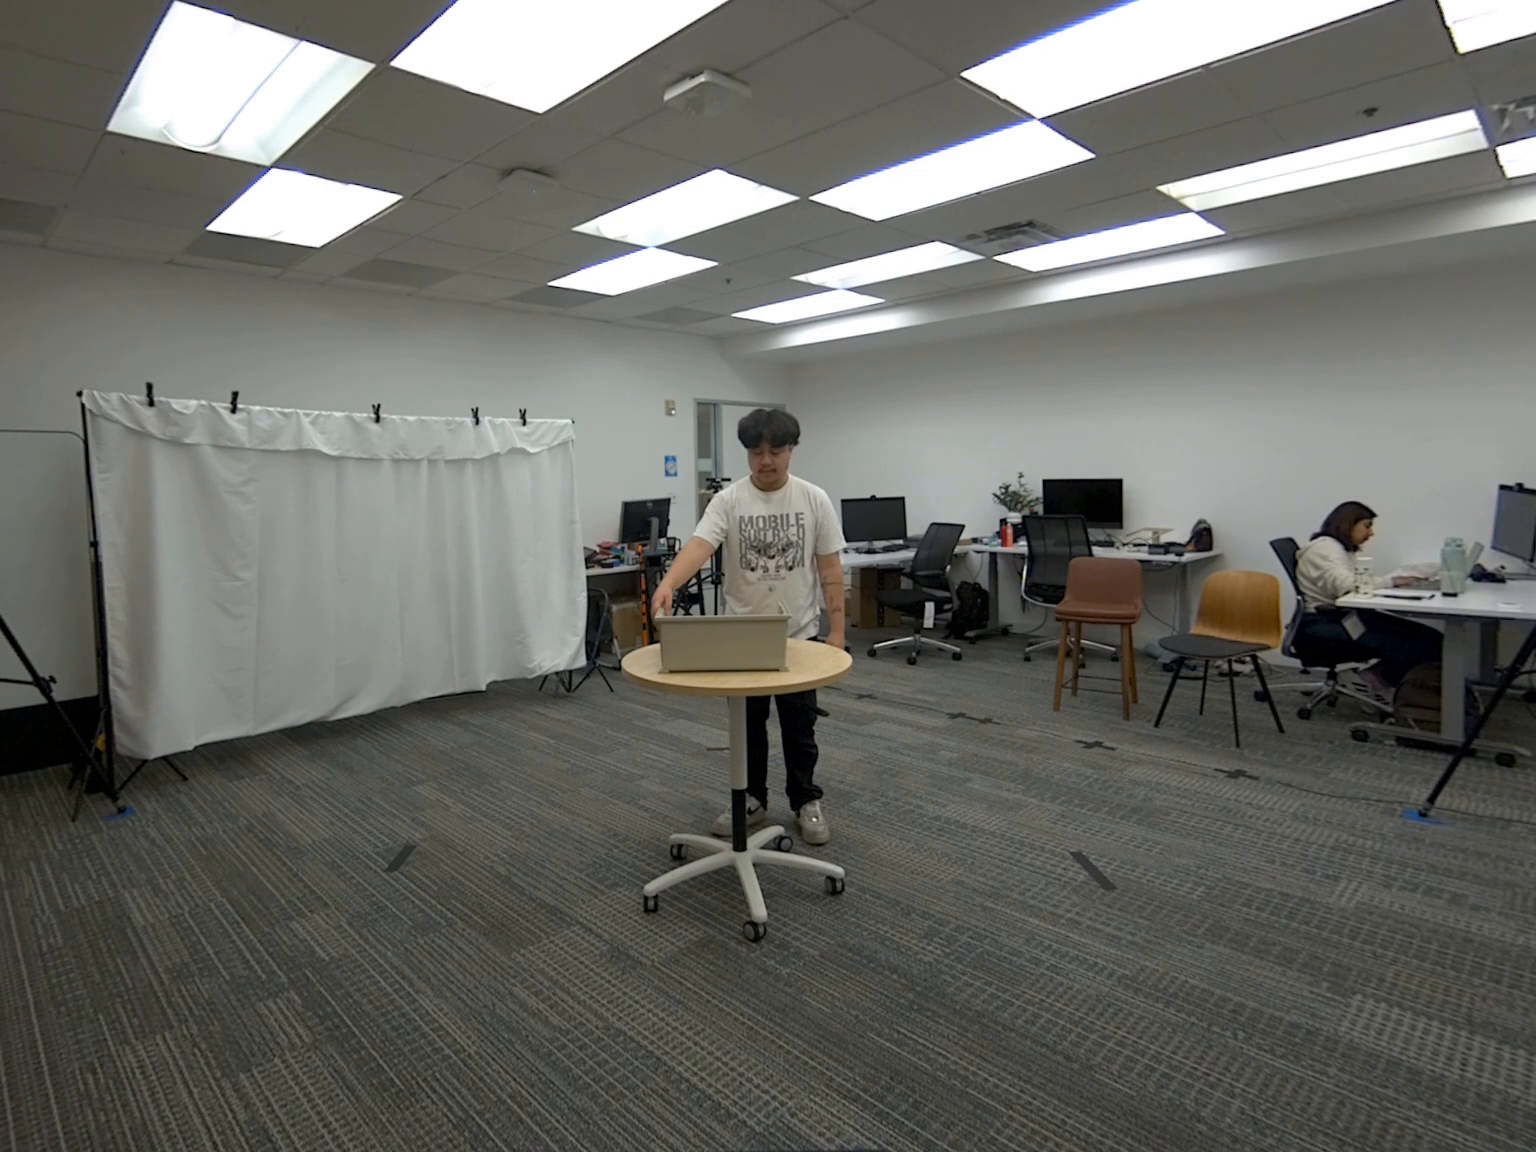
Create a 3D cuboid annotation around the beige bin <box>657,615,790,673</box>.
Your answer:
[{"bbox_3d":[-0.151,0.194,2.836,0.422,0.188,0.379,0,7,-1],"label":"beige bin"}]
